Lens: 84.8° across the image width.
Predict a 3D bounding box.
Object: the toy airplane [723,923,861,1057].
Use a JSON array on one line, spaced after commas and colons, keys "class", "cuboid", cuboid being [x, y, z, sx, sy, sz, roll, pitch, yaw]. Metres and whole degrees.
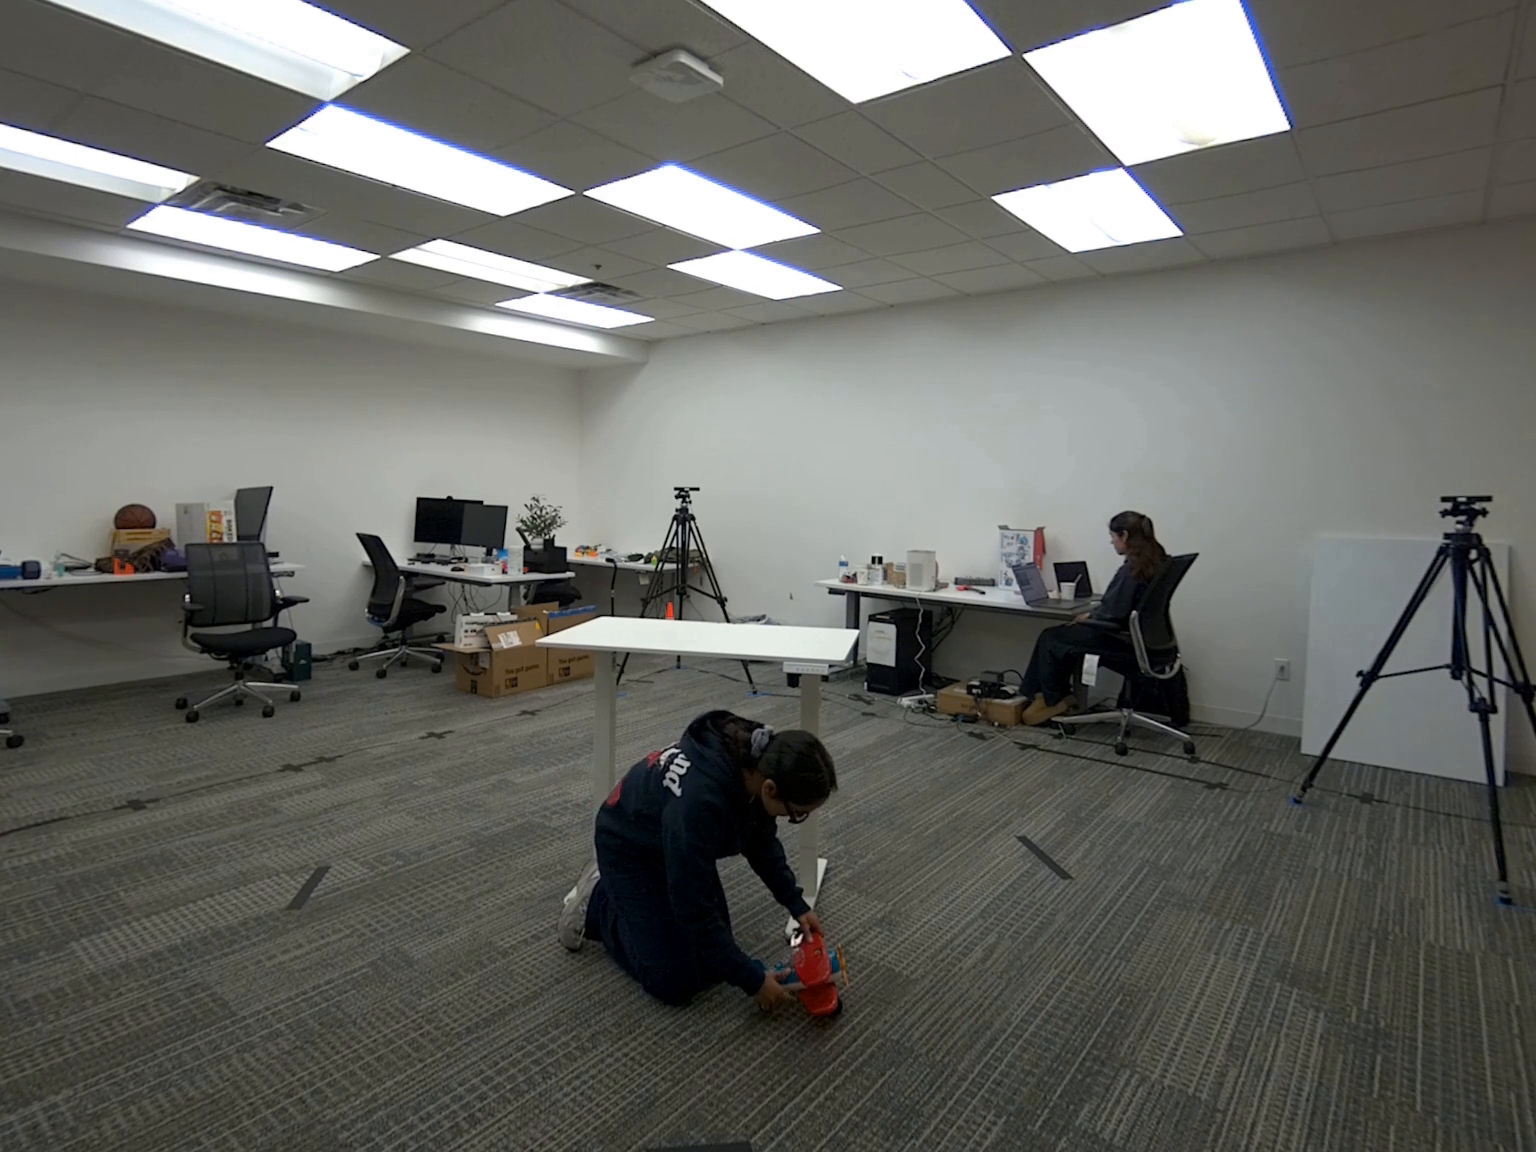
[{"class": "toy airplane", "cuboid": [0.060, 1.093, 2.250, 0.252, 0.156, 0.259, -6, 3, -42]}]
